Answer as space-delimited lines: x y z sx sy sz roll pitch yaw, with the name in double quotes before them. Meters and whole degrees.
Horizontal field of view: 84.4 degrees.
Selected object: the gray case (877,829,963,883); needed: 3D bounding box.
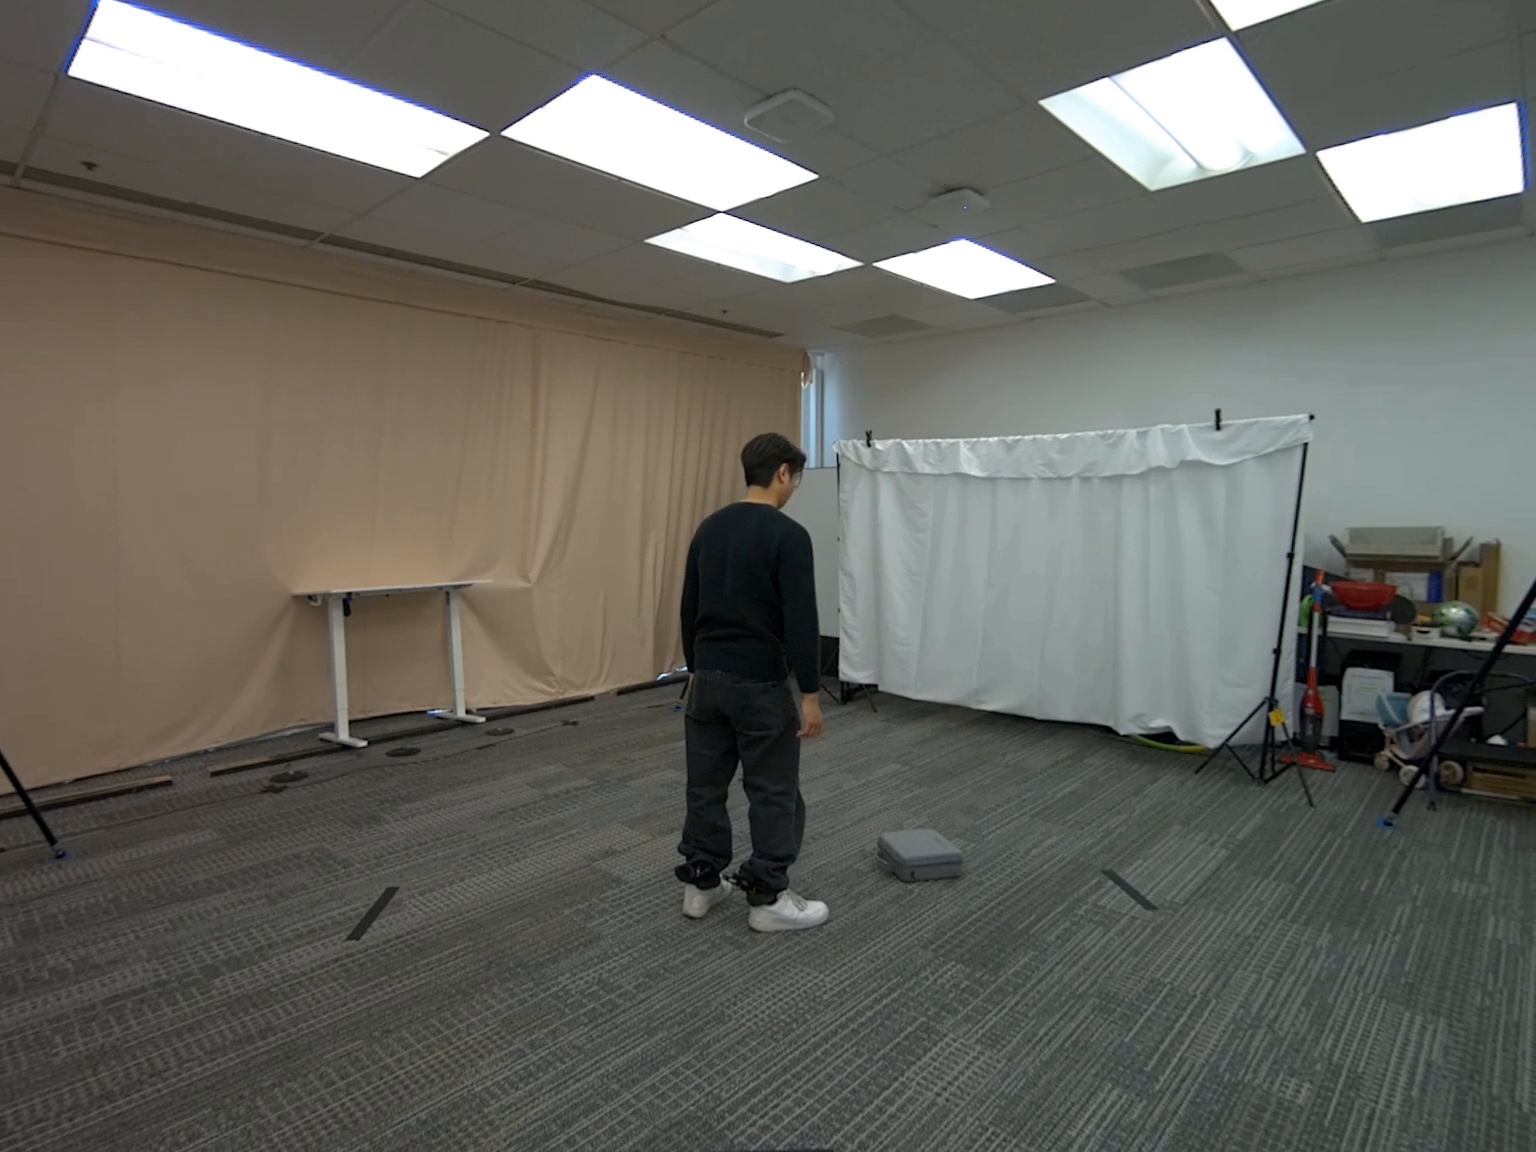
"gray case" 0.582 1.066 3.232 0.257 0.104 0.261 -2 5 -13
